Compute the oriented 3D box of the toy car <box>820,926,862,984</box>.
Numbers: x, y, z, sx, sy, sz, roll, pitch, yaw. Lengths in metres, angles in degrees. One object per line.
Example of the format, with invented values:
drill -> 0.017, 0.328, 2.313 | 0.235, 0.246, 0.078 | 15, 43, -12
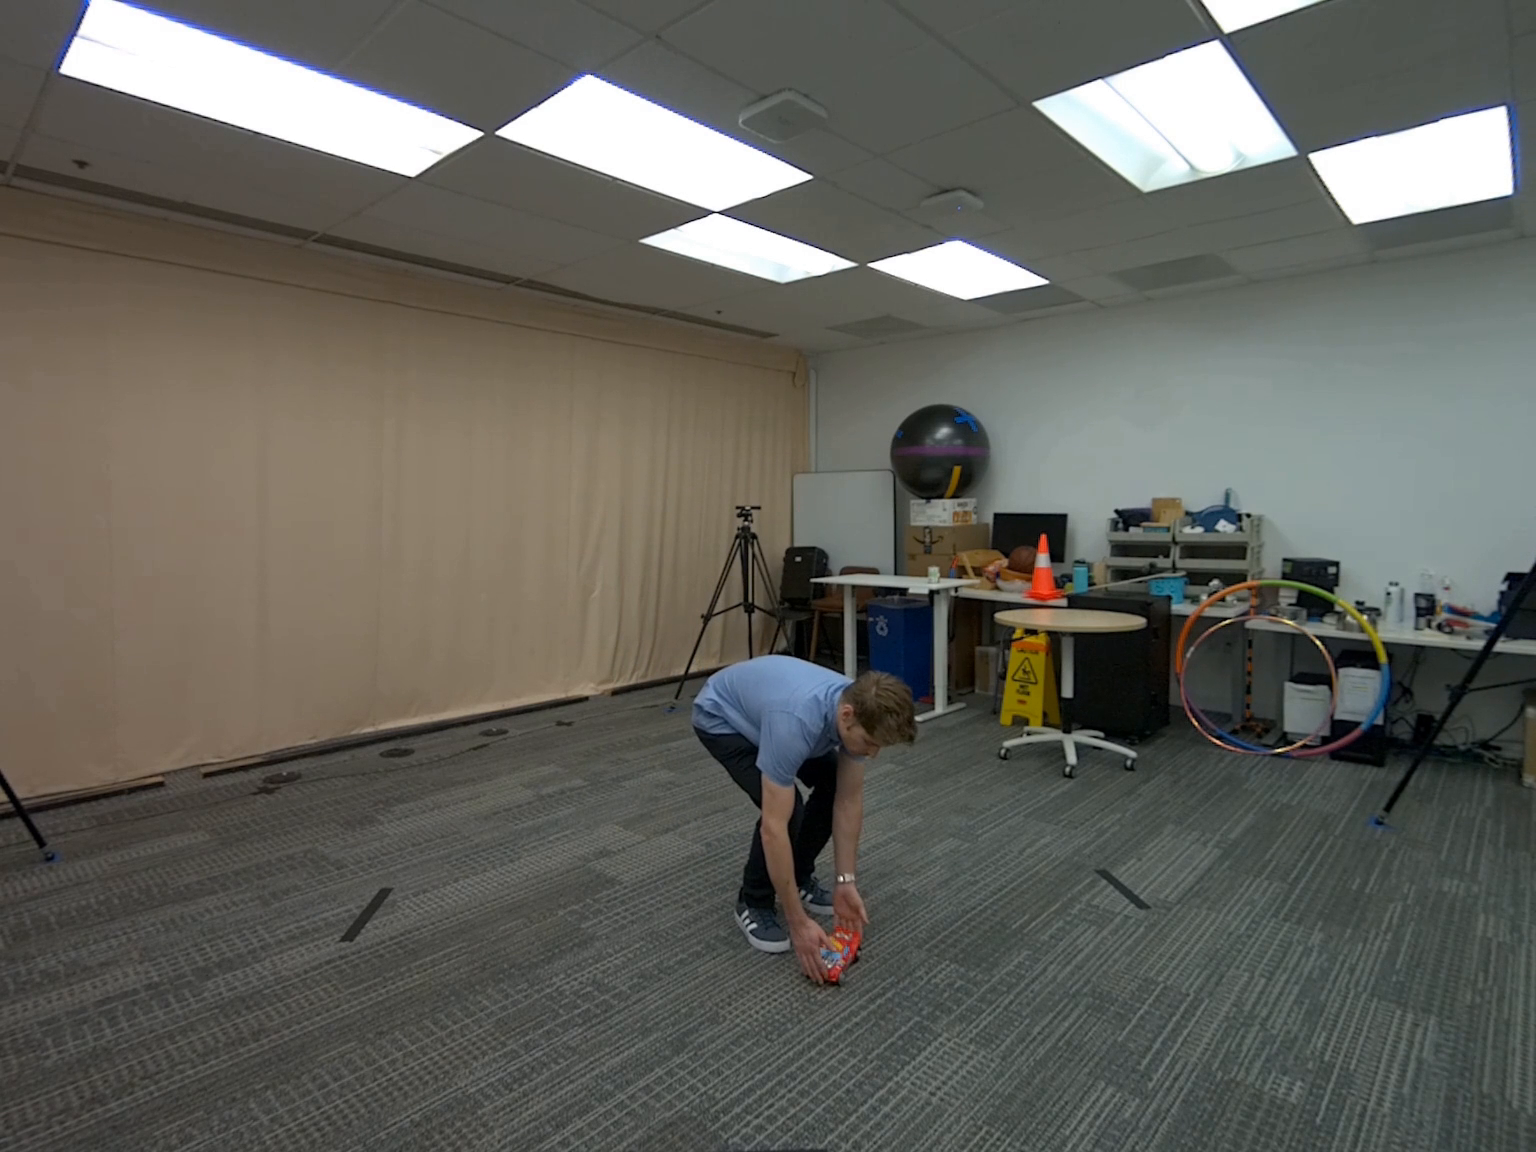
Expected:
toy car -> 0.210, 1.146, 2.558 | 0.134, 0.082, 0.250 | 2, 15, 27
